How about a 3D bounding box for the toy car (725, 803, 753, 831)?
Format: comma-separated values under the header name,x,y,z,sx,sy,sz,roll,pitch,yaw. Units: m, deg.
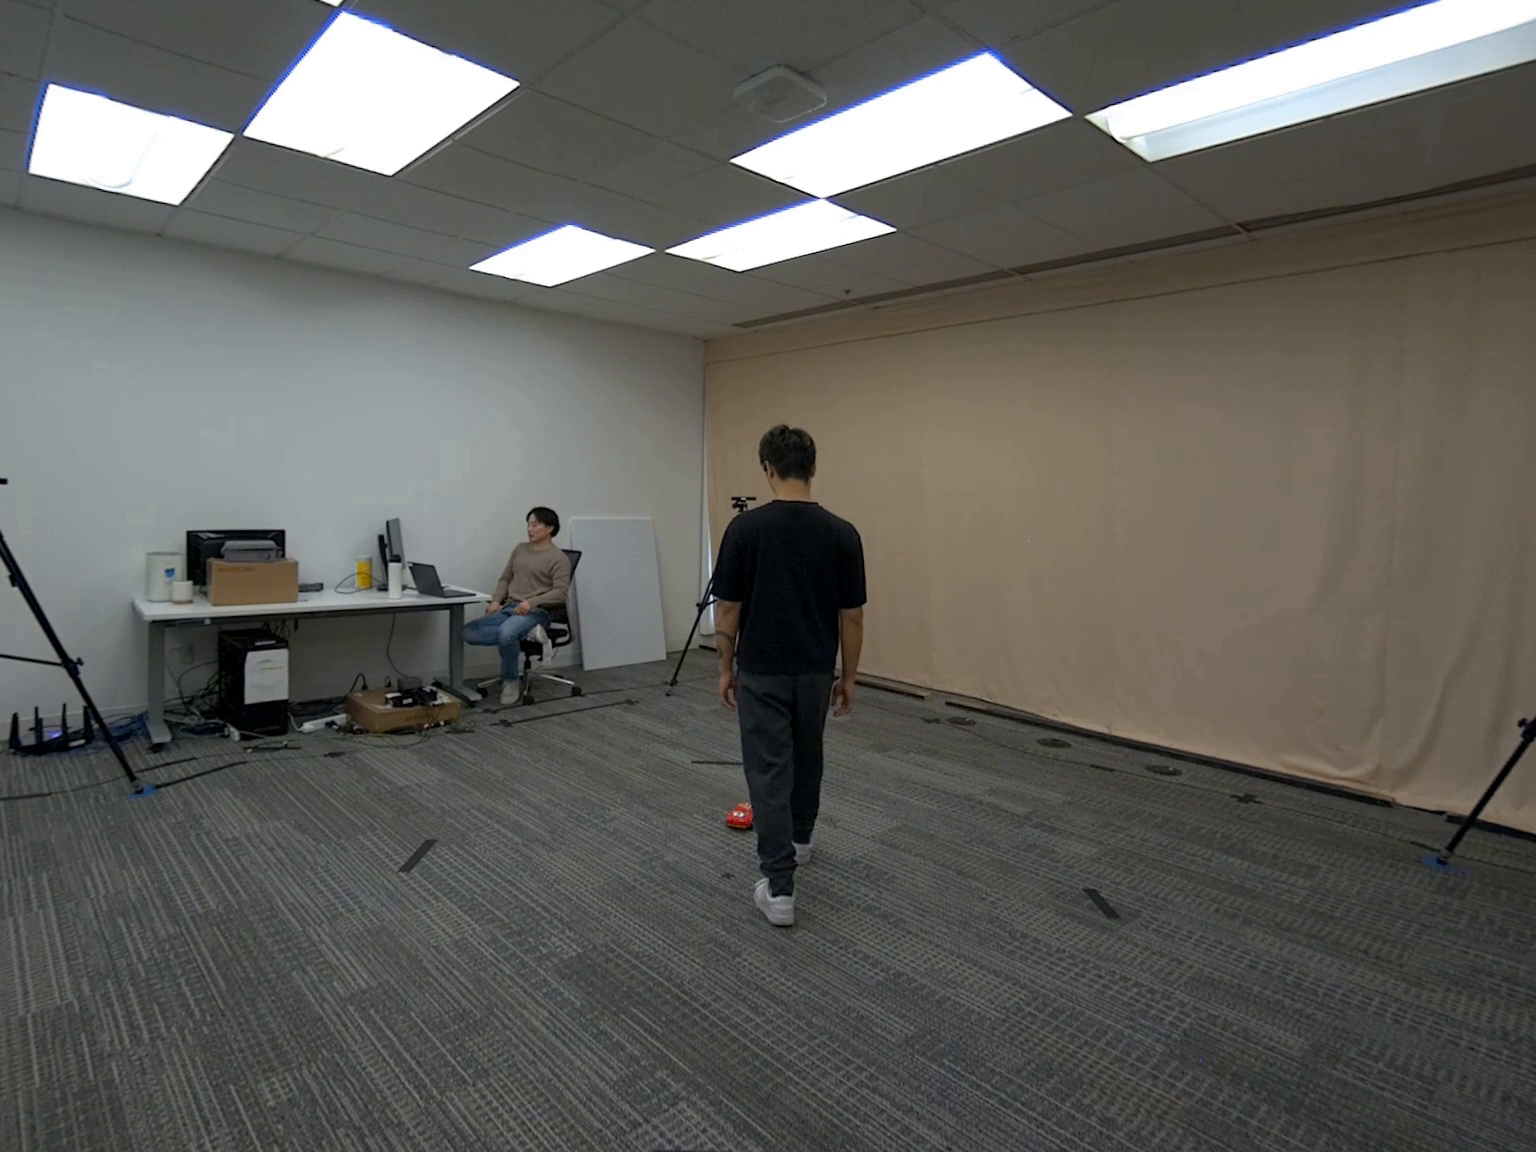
name,x,y,z,sx,sy,sz,roll,pitch,yaw
toy car,-0.114,1.032,3.624,0.132,0.083,0.250,2,-5,16
